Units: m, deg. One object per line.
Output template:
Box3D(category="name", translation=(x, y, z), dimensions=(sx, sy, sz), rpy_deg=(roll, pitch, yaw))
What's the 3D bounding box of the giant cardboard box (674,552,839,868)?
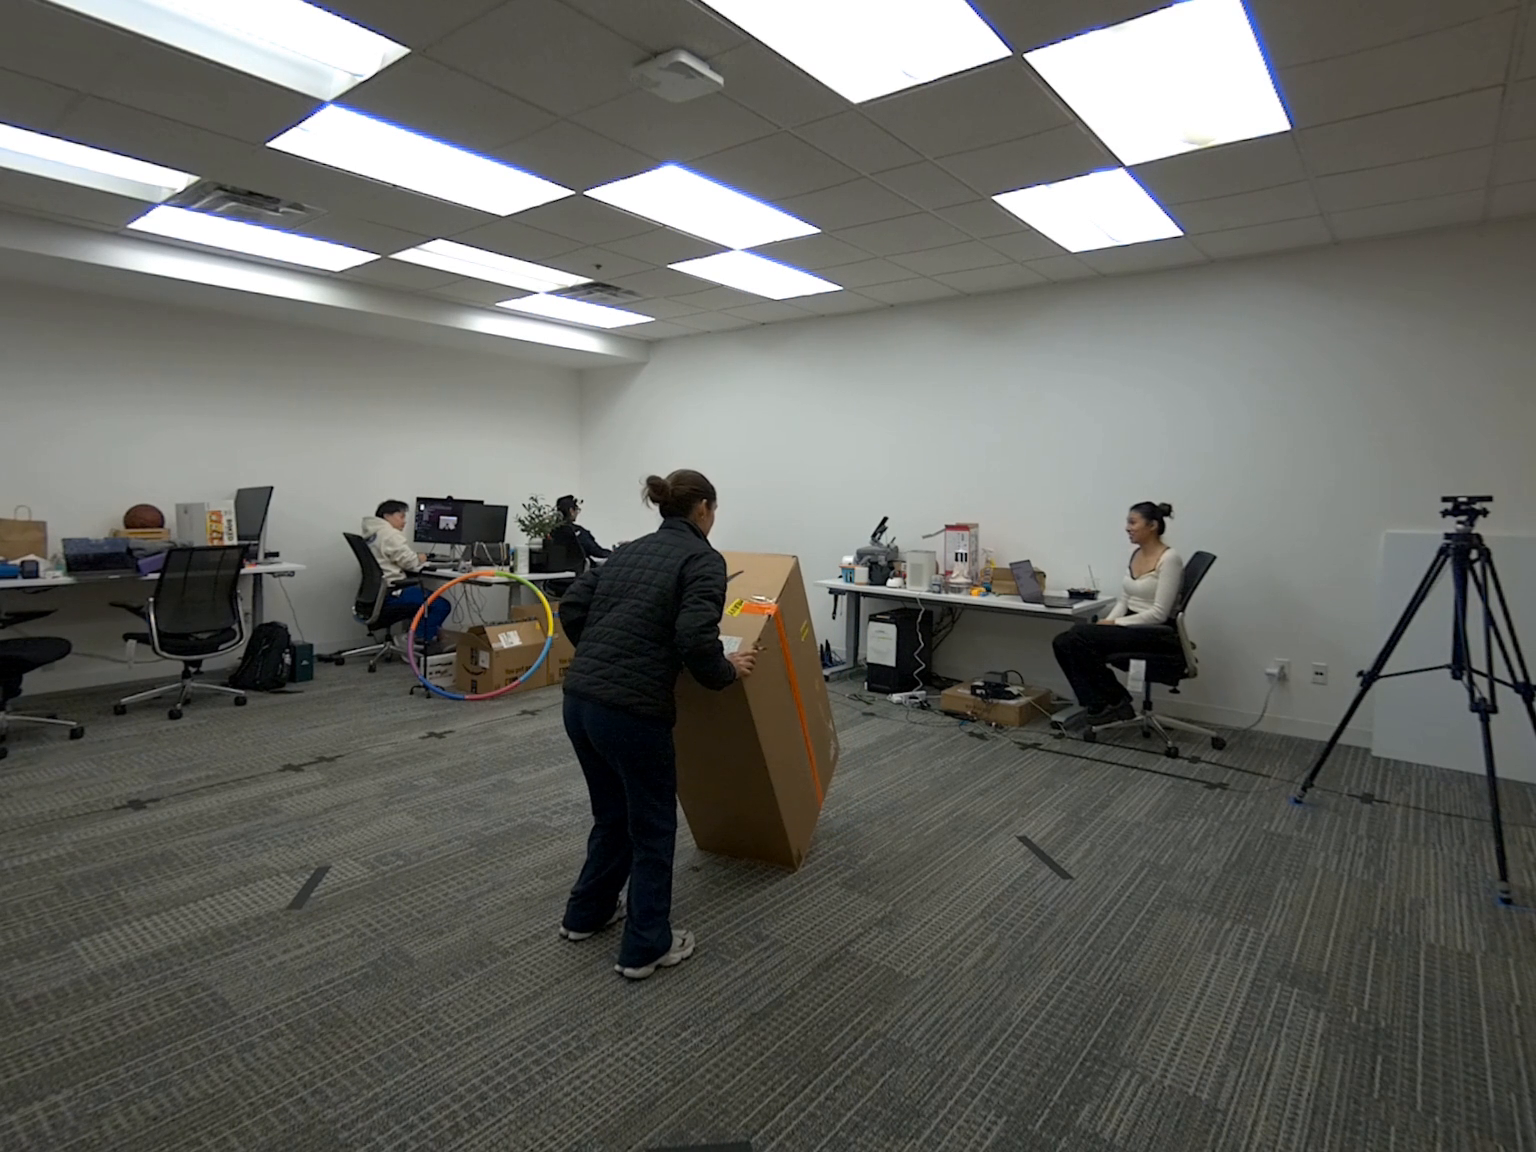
Box3D(category="giant cardboard box", translation=(-0.069, 0.485, 3.132), dimensions=(0.459, 0.993, 0.588), rpy_deg=(5, 39, 24))
